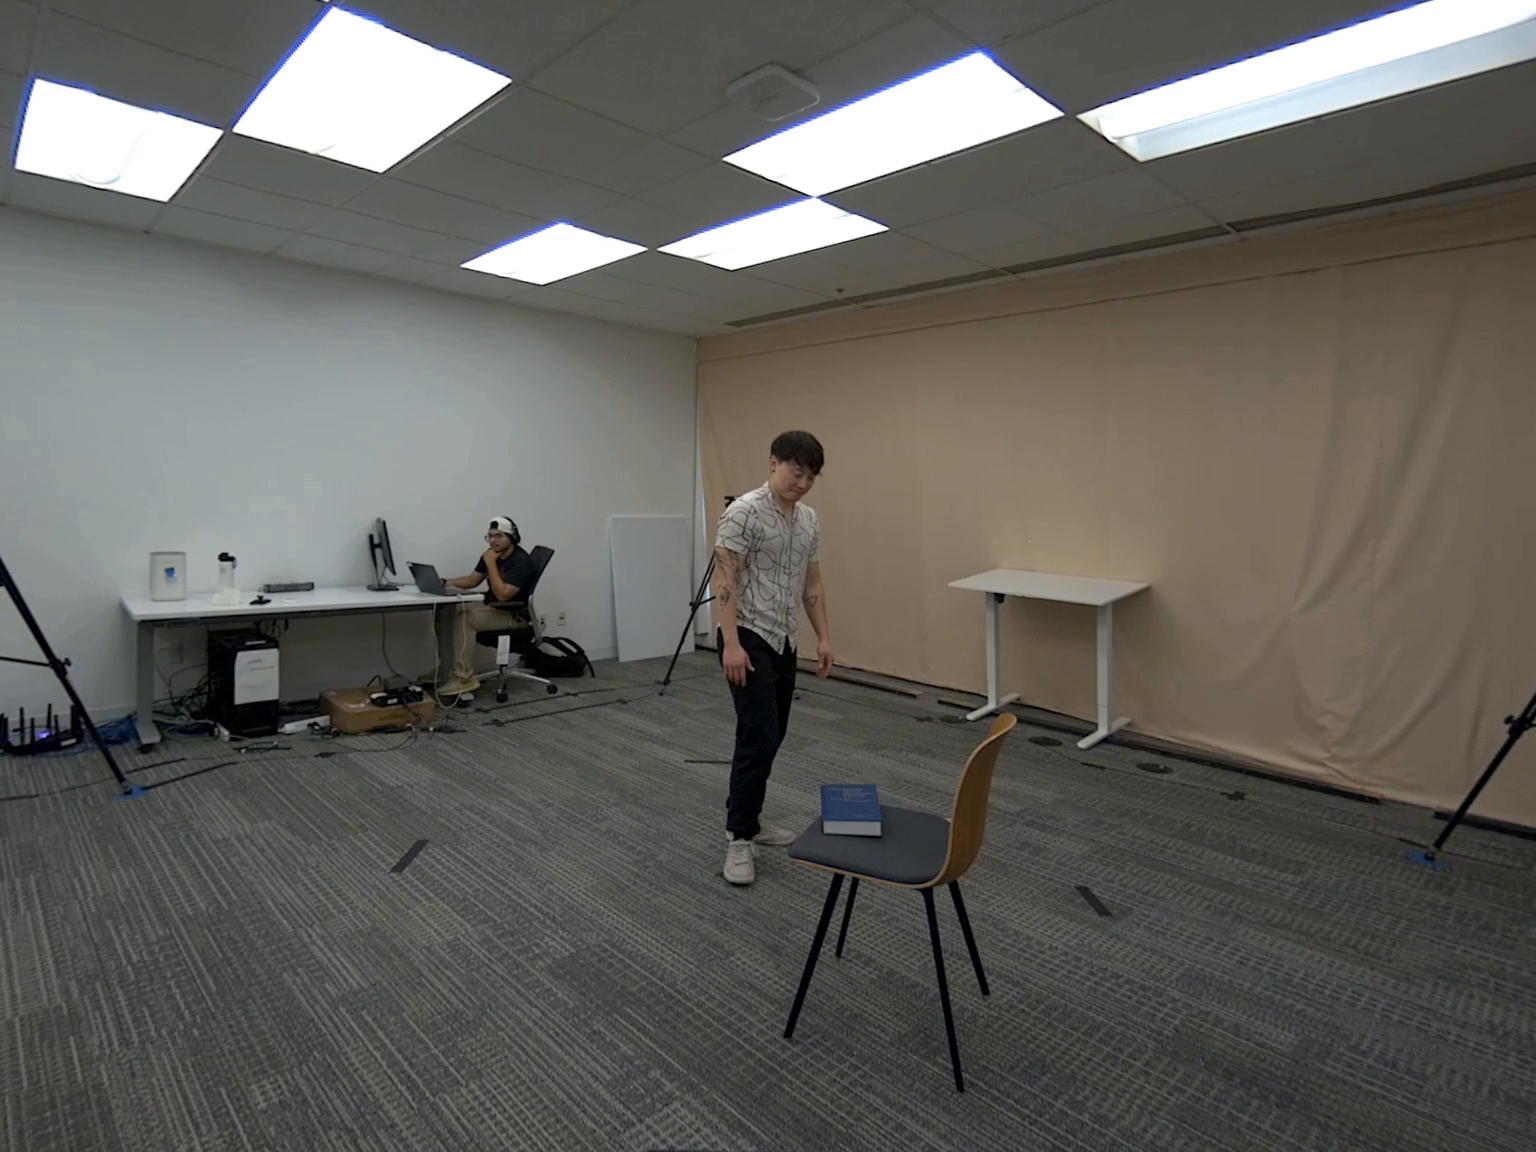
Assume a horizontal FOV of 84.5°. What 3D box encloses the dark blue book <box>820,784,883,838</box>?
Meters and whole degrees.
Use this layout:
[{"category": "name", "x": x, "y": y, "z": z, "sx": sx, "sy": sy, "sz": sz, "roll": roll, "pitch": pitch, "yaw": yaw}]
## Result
[{"category": "dark blue book", "x": 0.228, "y": 0.668, "z": 2.408, "sx": 0.164, "sy": 0.045, "sz": 0.245, "roll": -1, "pitch": 8, "yaw": 3}]
